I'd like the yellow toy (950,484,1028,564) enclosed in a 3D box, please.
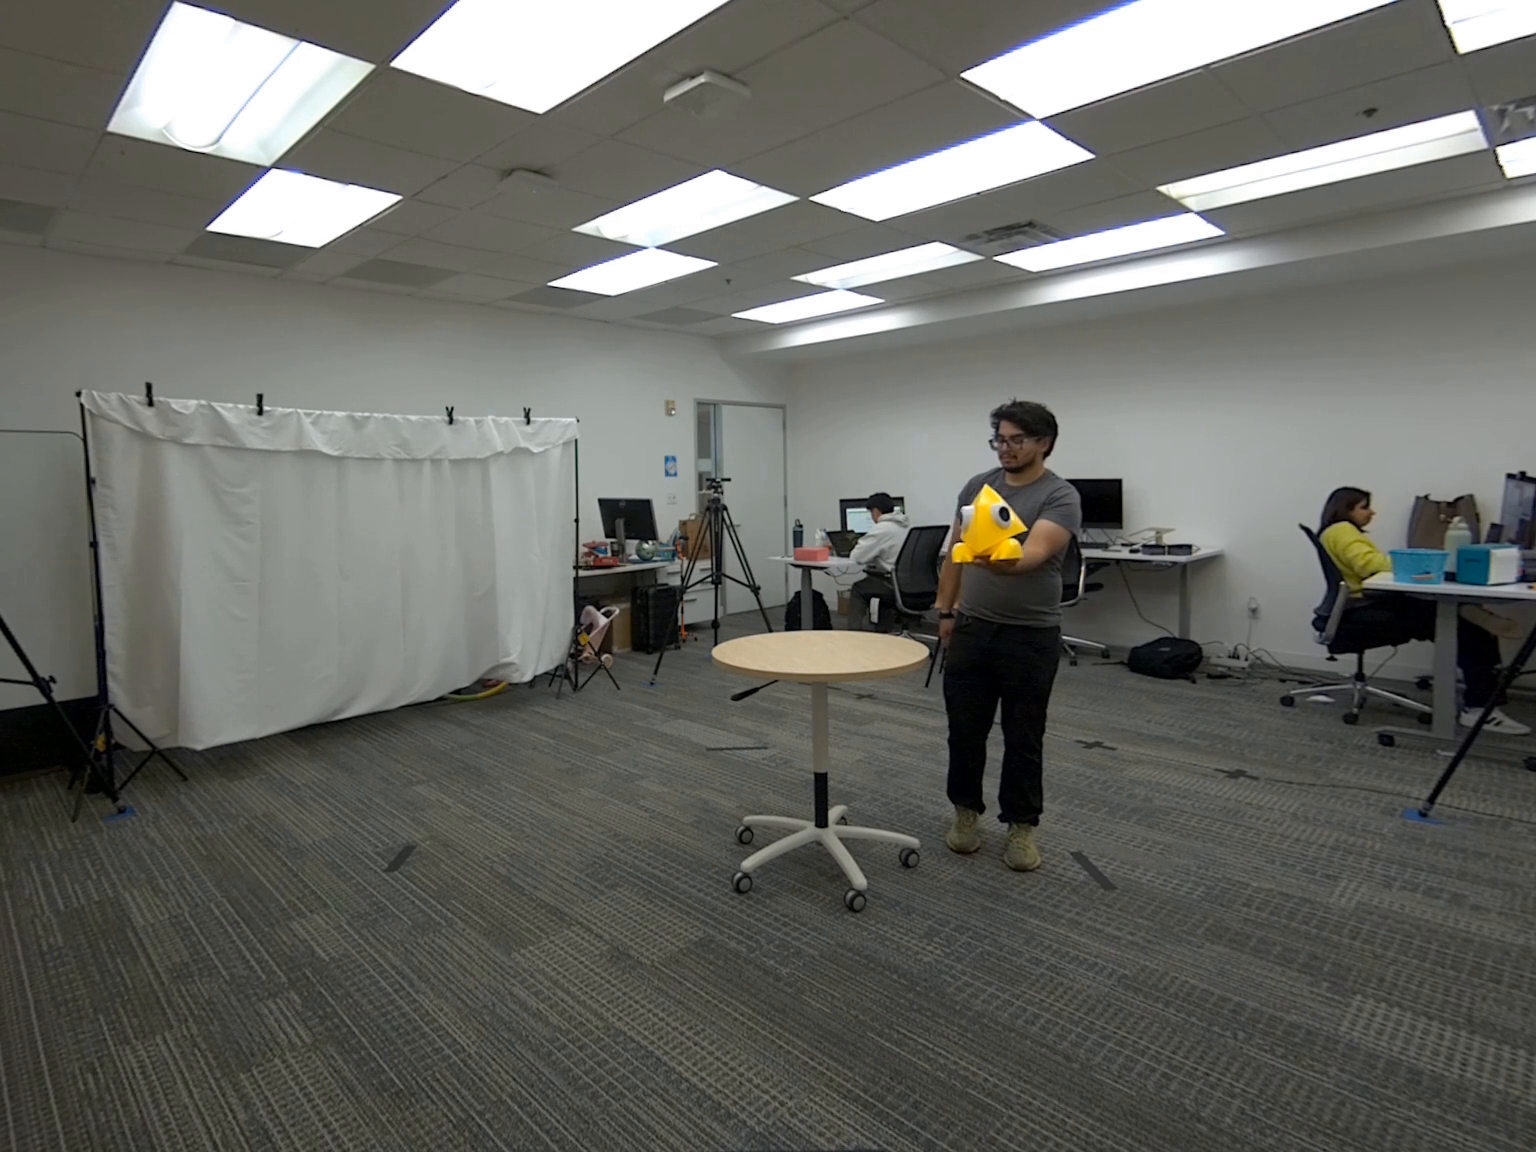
[{"bbox_3d":[0.656,-0.167,2.560,0.209,0.231,0.188,-5,-2,30],"label":"yellow toy"}]
